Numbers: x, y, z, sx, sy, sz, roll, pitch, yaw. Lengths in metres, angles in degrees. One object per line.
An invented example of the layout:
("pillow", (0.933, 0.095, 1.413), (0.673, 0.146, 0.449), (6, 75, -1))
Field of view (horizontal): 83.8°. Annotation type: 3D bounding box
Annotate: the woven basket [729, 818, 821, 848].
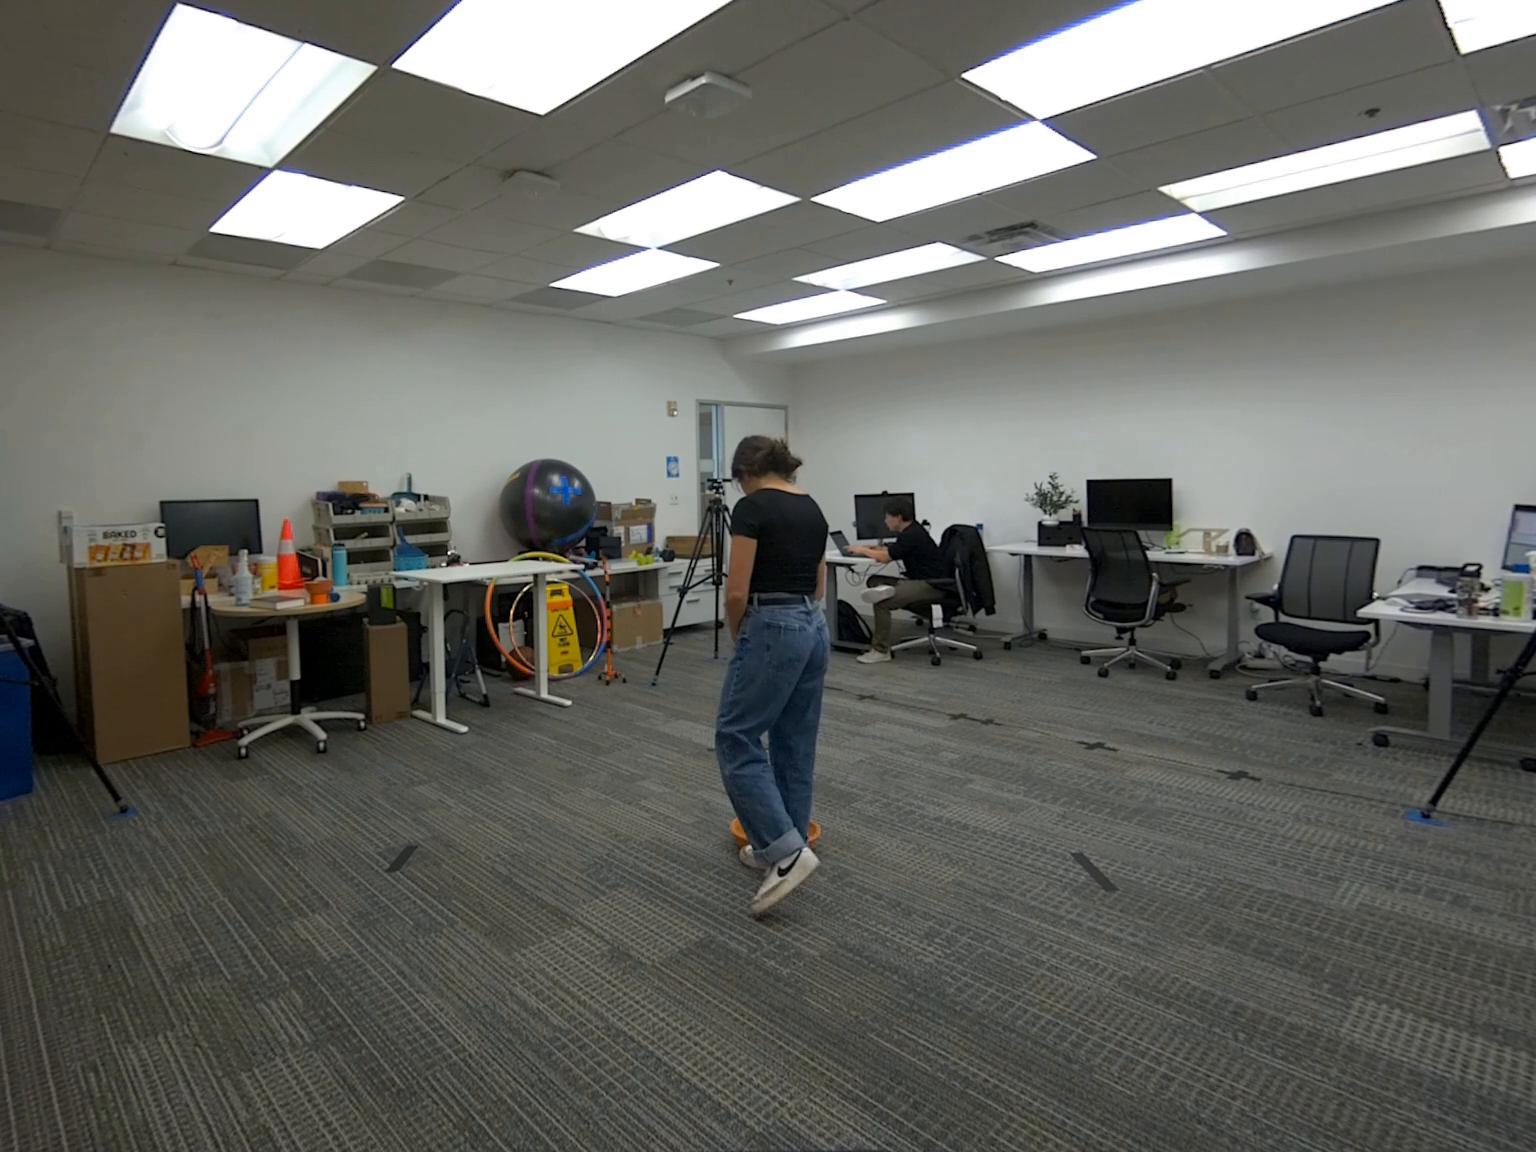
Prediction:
("woven basket", (0.029, 0.991, 3.249), (0.357, 0.073, 0.249), (2, 8, 19))
